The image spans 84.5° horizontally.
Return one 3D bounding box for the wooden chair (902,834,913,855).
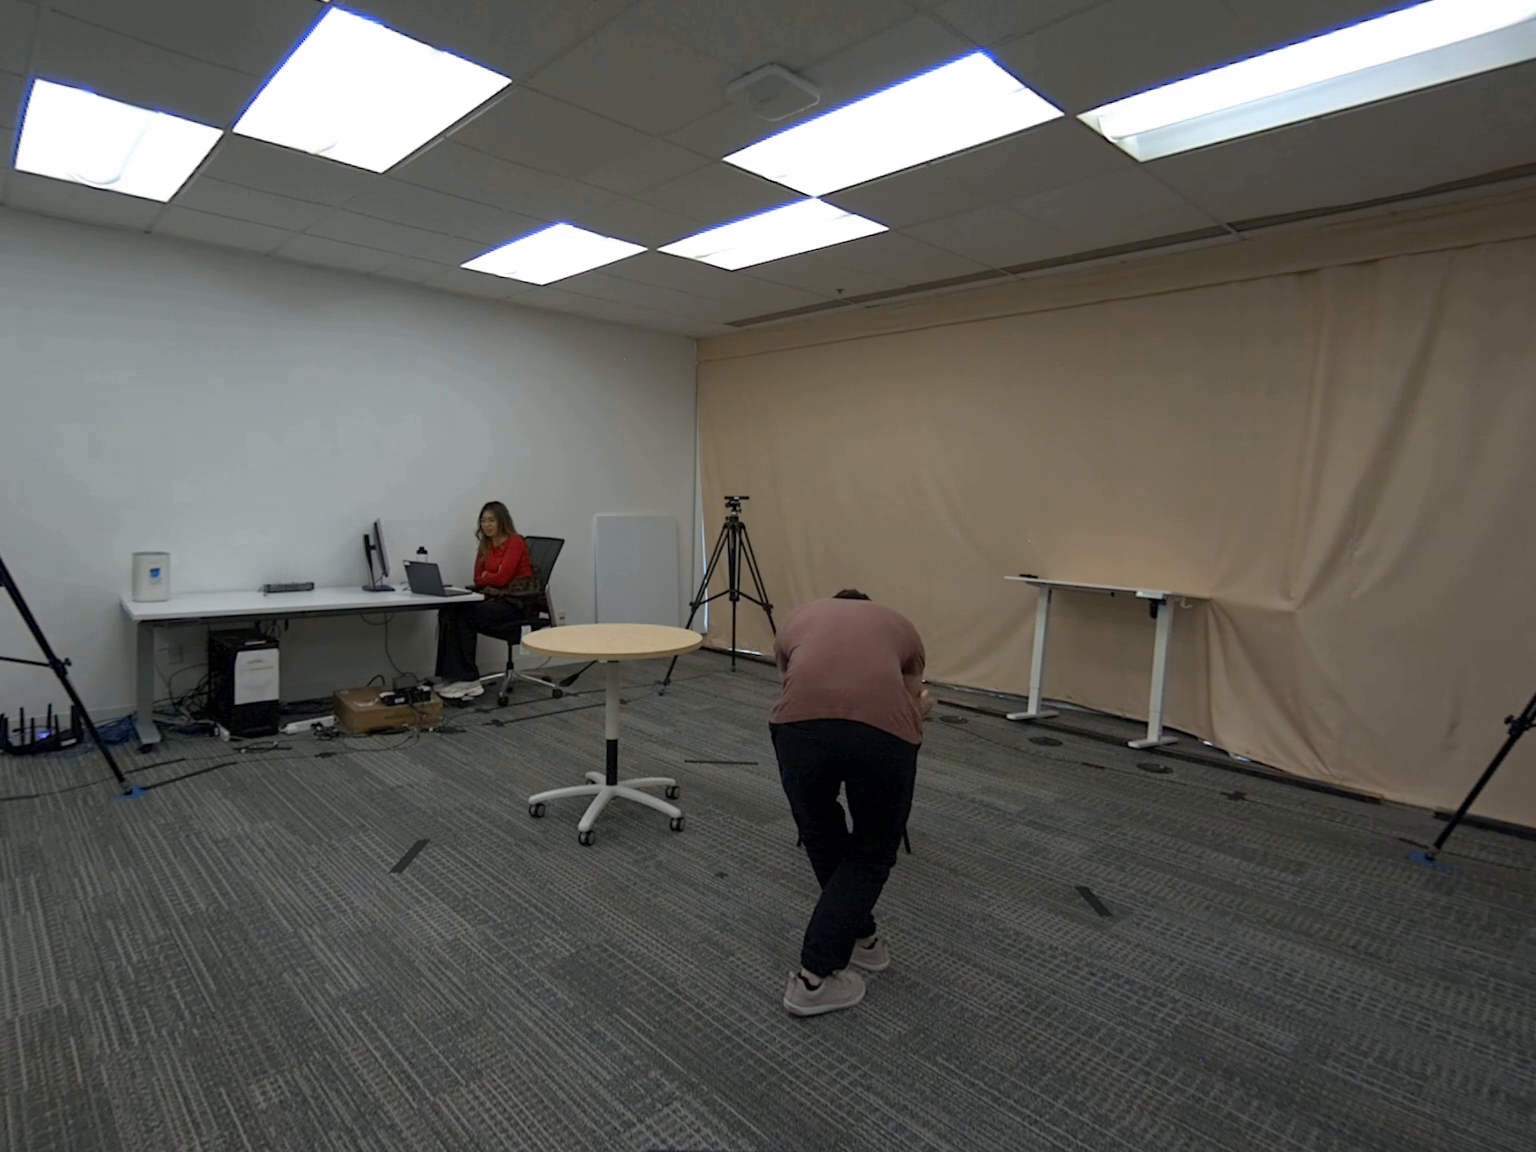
[{"bbox_3d":[0.353,0.615,3.367,0.480,0.860,0.531,2,32,4],"label":"wooden chair"}]
